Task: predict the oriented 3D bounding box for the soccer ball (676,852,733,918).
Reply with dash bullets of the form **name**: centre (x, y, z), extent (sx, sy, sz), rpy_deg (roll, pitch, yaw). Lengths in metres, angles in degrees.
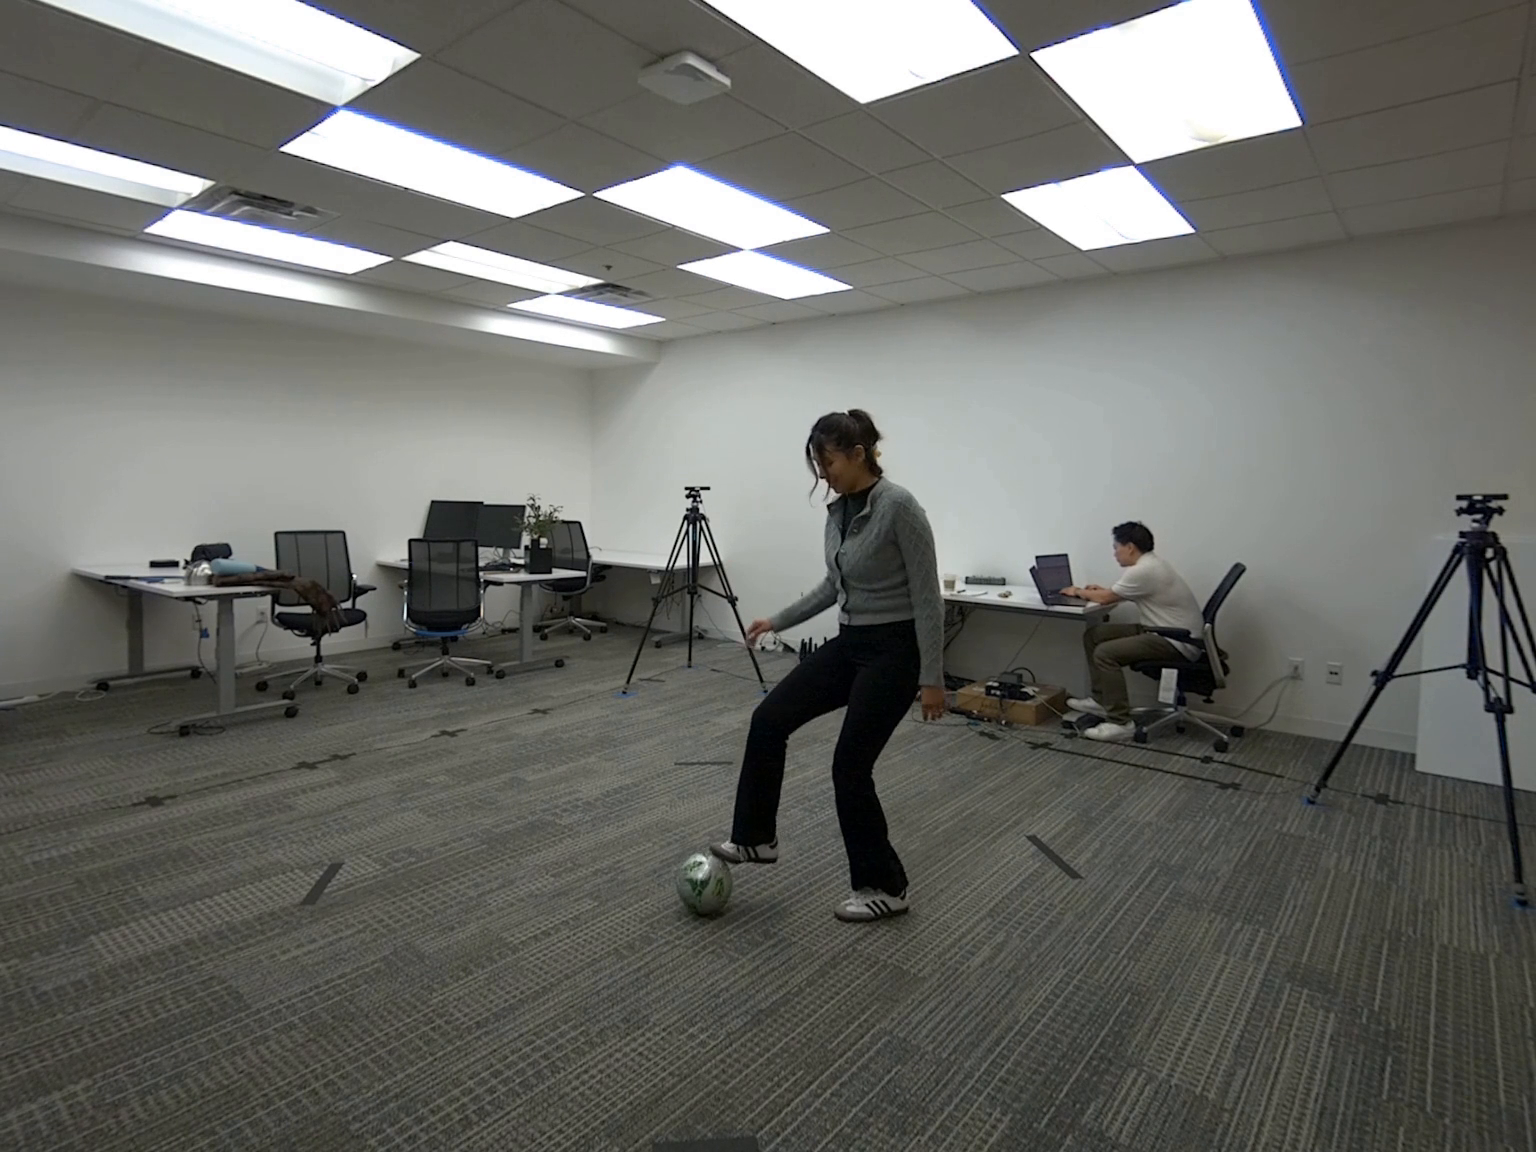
- **soccer ball**: centre (-0.212, 1.005, 2.807), extent (0.187, 0.187, 0.188), rpy_deg (1, 4, -2)
